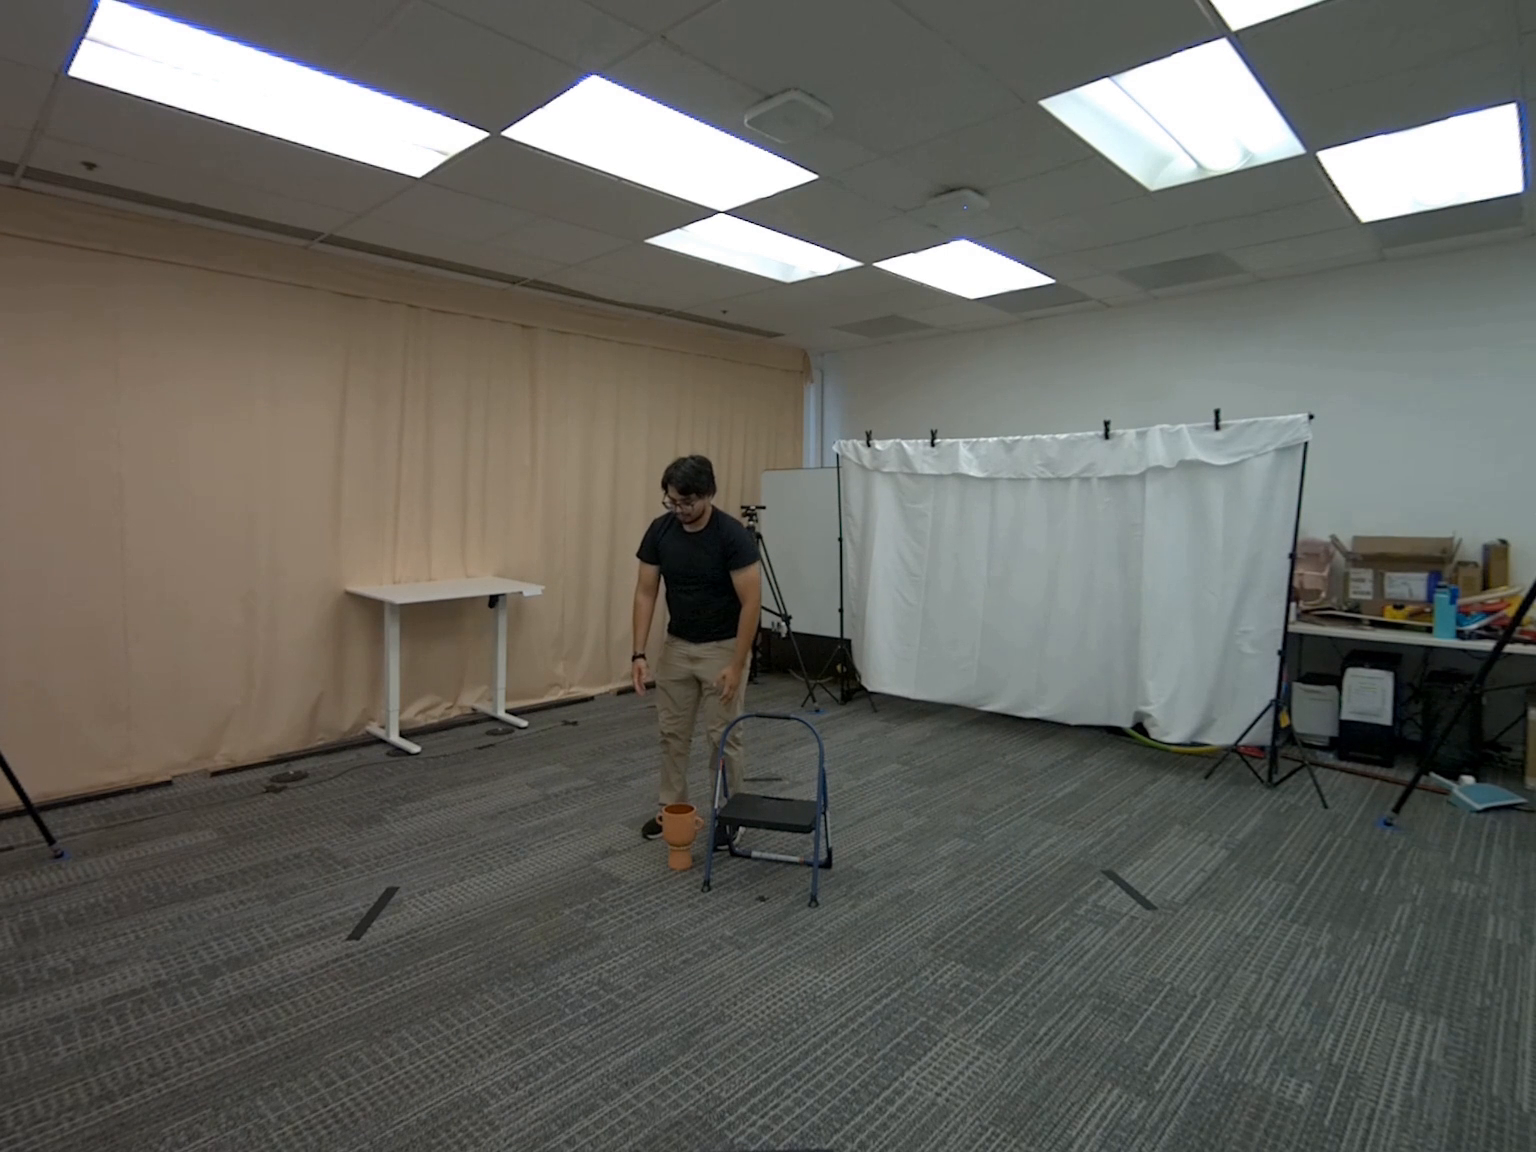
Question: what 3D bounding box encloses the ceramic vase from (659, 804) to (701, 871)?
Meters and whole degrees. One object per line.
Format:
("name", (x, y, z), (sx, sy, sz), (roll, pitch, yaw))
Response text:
("ceramic vase", (-0.345, 1.012, 3.271), (0.131, 0.219, 0.164), (-2, 4, -33))
